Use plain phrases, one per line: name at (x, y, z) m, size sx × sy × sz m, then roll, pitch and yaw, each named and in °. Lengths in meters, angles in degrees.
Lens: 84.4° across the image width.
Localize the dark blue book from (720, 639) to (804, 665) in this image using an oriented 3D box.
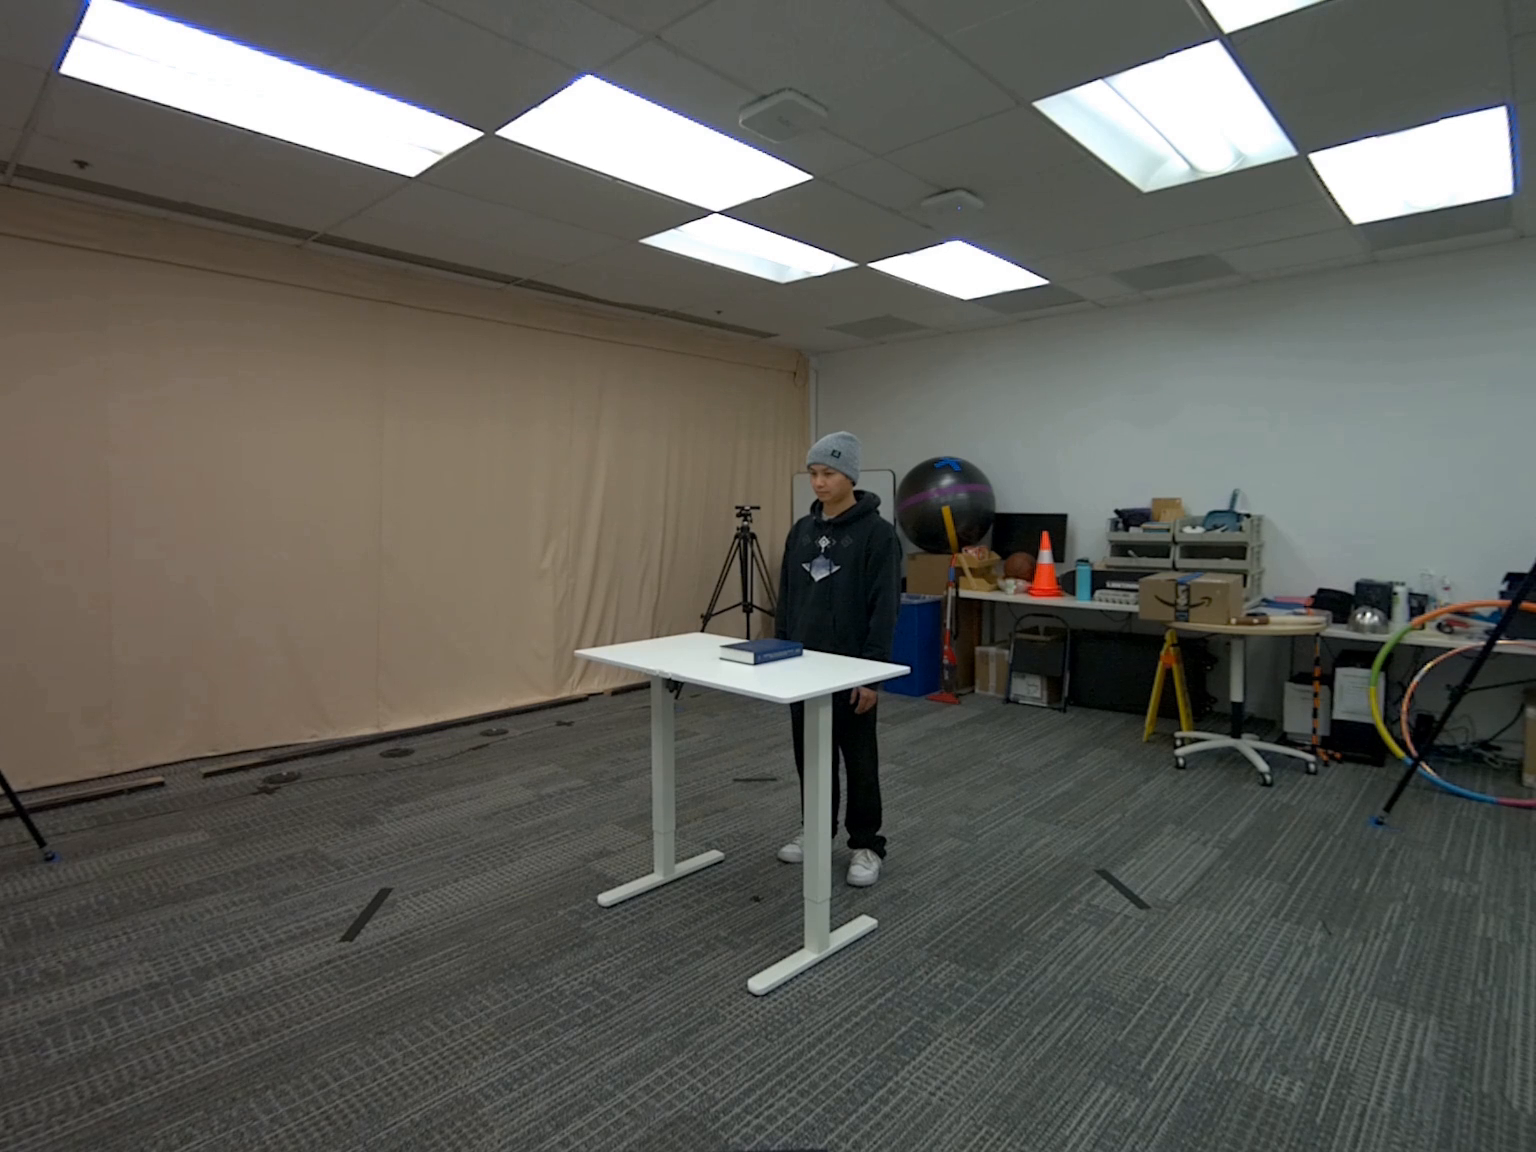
dark blue book at (-0.024, 0.258, 2.825) m, size 0.169 × 0.045 × 0.238 m, roll 5°, pitch 7°, yaw 44°
